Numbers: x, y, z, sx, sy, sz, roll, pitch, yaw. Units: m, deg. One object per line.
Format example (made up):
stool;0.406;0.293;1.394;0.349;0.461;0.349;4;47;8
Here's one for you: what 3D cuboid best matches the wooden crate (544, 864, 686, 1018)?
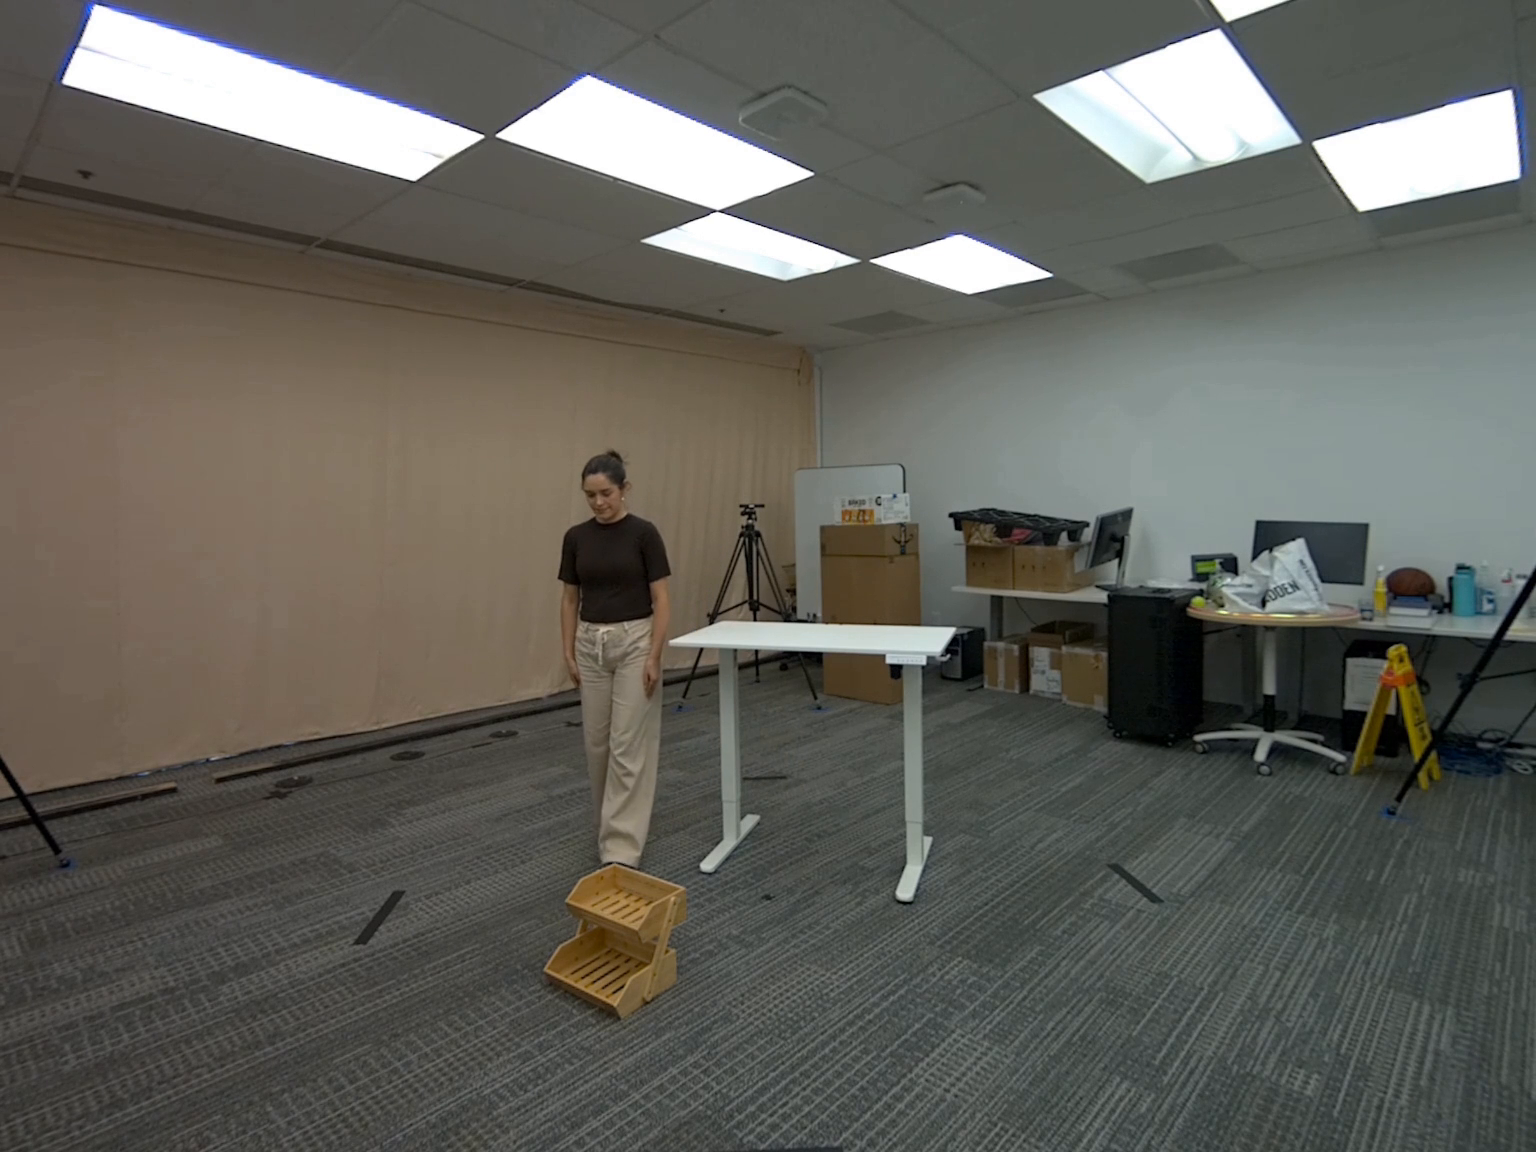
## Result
wooden crate;-0.449;1.062;2.471;0.335;0.273;0.293;1;4;36
